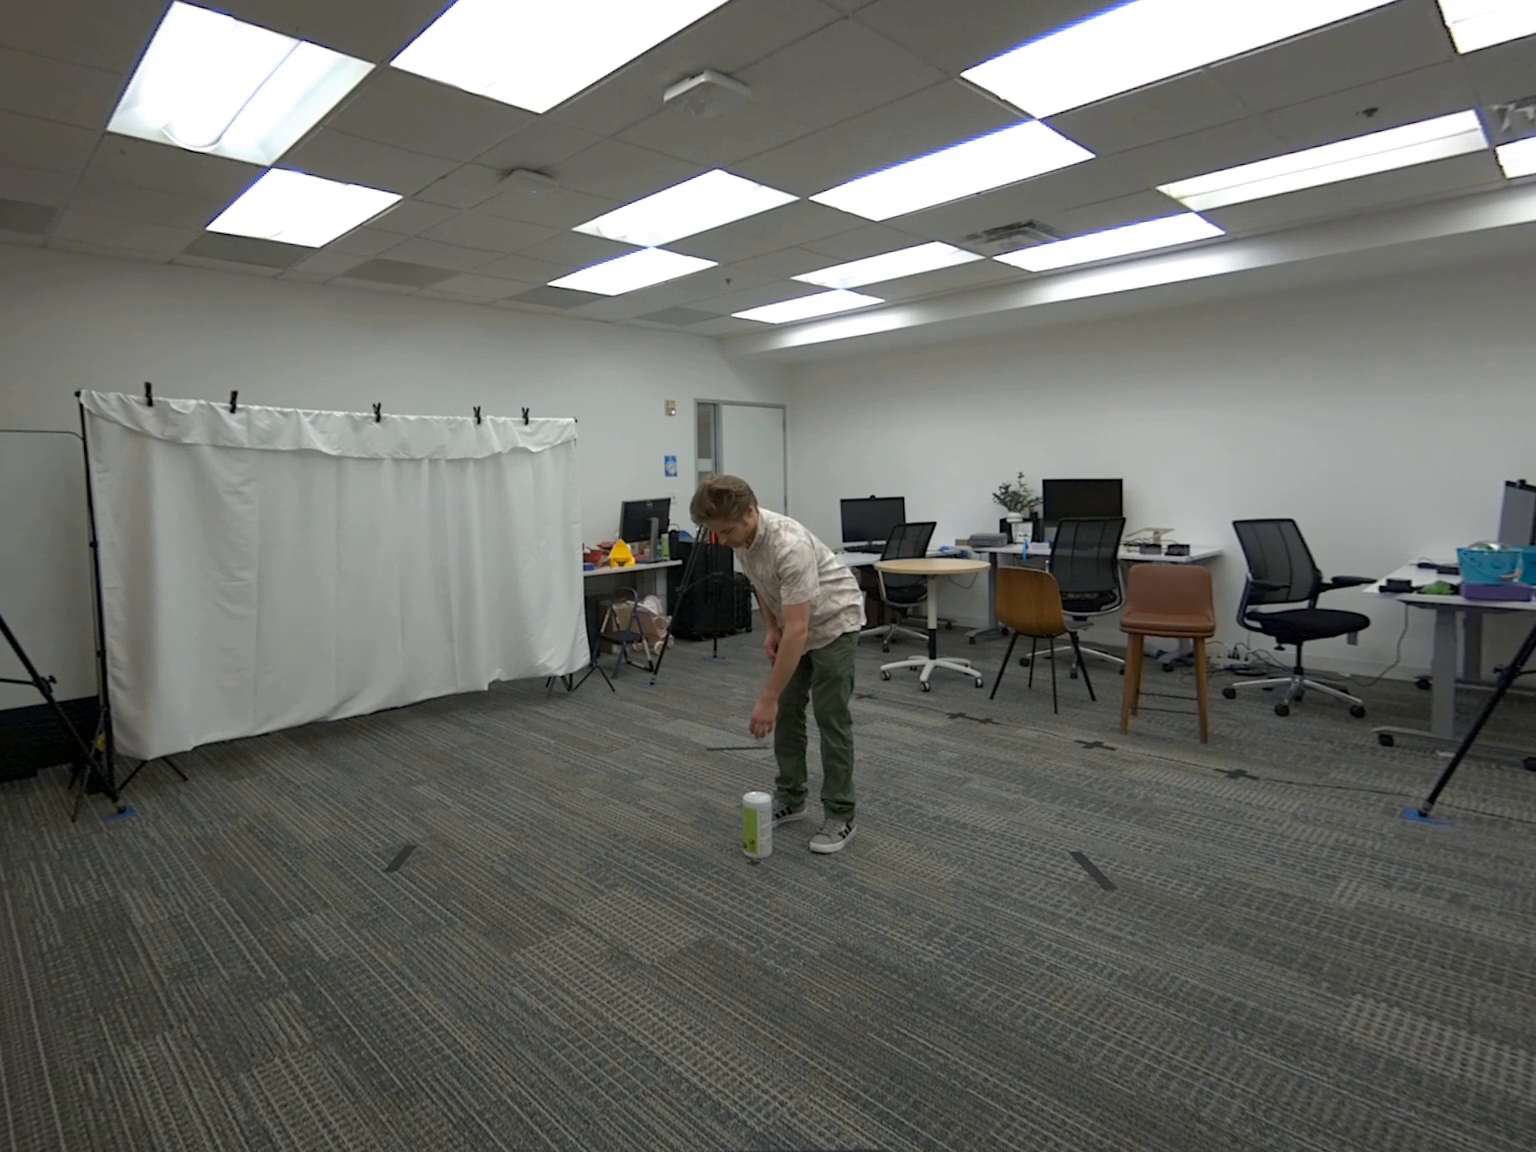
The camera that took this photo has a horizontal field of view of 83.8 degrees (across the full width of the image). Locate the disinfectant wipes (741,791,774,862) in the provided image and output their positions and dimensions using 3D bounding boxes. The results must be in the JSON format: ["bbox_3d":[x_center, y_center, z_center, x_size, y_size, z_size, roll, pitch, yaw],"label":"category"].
[{"bbox_3d":[-0.035,0.928,3.182,0.118,0.217,0.118,0,4,-2],"label":"disinfectant wipes"}]
